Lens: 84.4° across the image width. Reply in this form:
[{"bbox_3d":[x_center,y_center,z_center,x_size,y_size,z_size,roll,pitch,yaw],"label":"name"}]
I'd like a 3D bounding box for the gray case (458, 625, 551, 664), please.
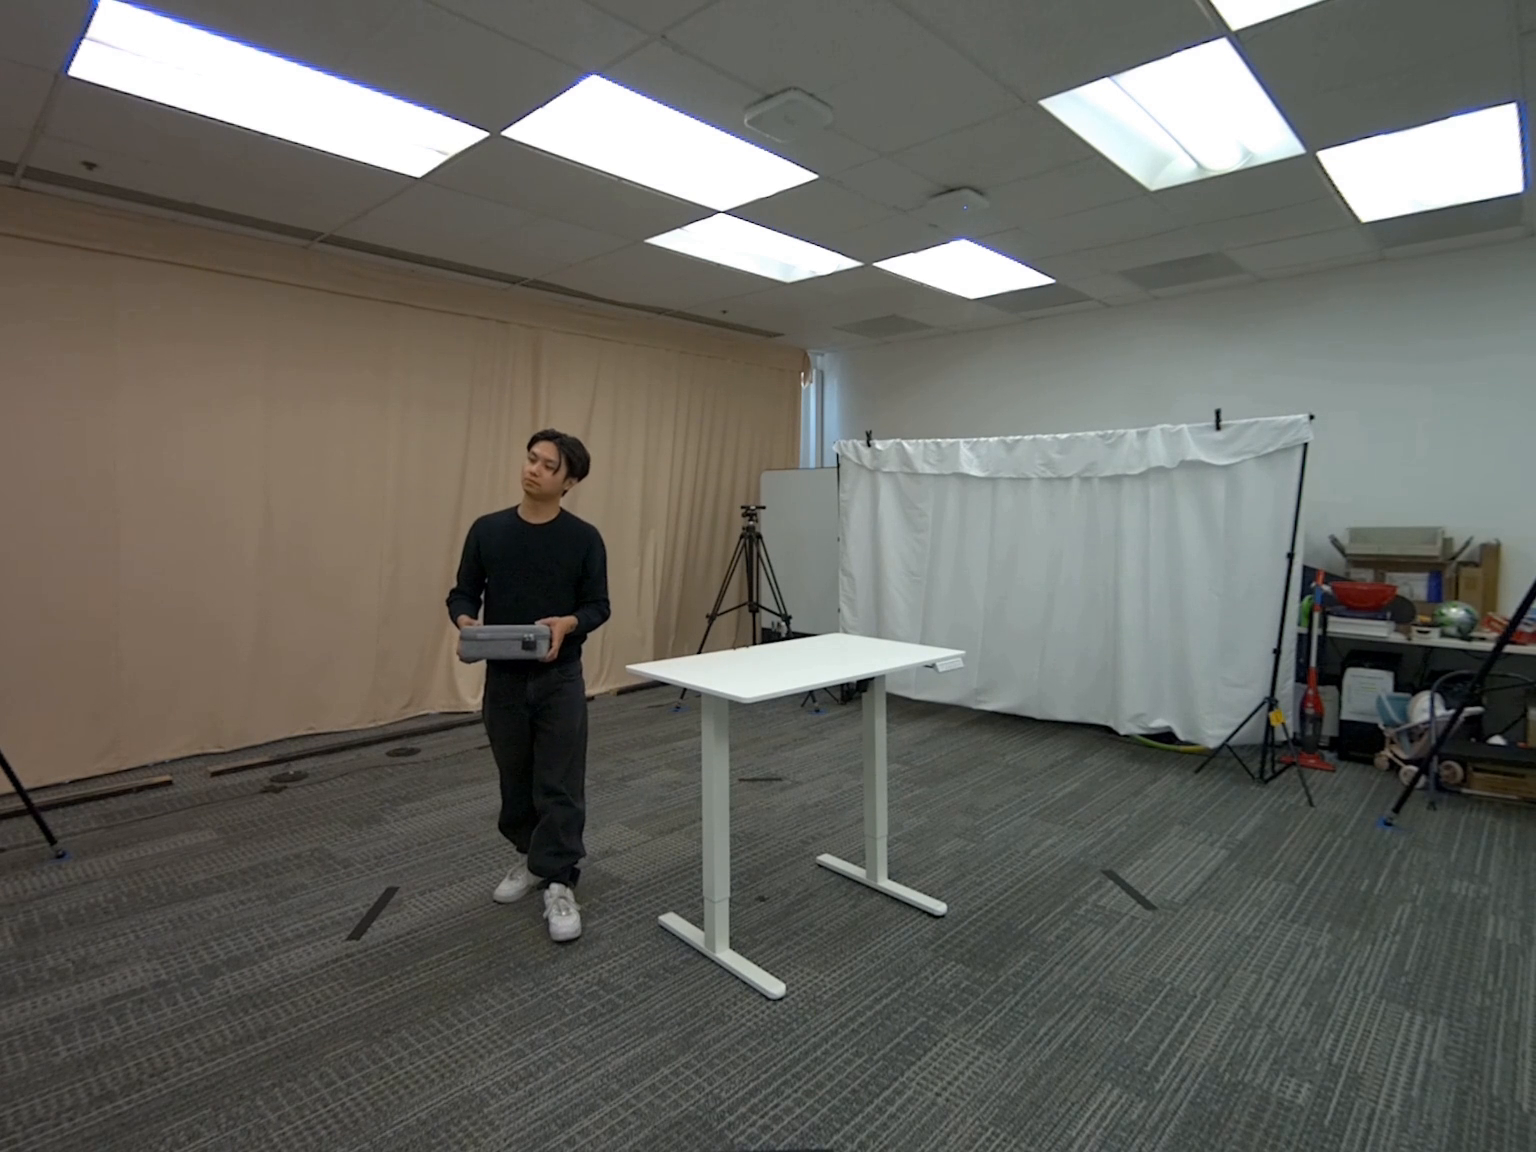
[{"bbox_3d":[-0.809,0.207,2.653,0.256,0.105,0.260,-1,-5,-3],"label":"gray case"}]
